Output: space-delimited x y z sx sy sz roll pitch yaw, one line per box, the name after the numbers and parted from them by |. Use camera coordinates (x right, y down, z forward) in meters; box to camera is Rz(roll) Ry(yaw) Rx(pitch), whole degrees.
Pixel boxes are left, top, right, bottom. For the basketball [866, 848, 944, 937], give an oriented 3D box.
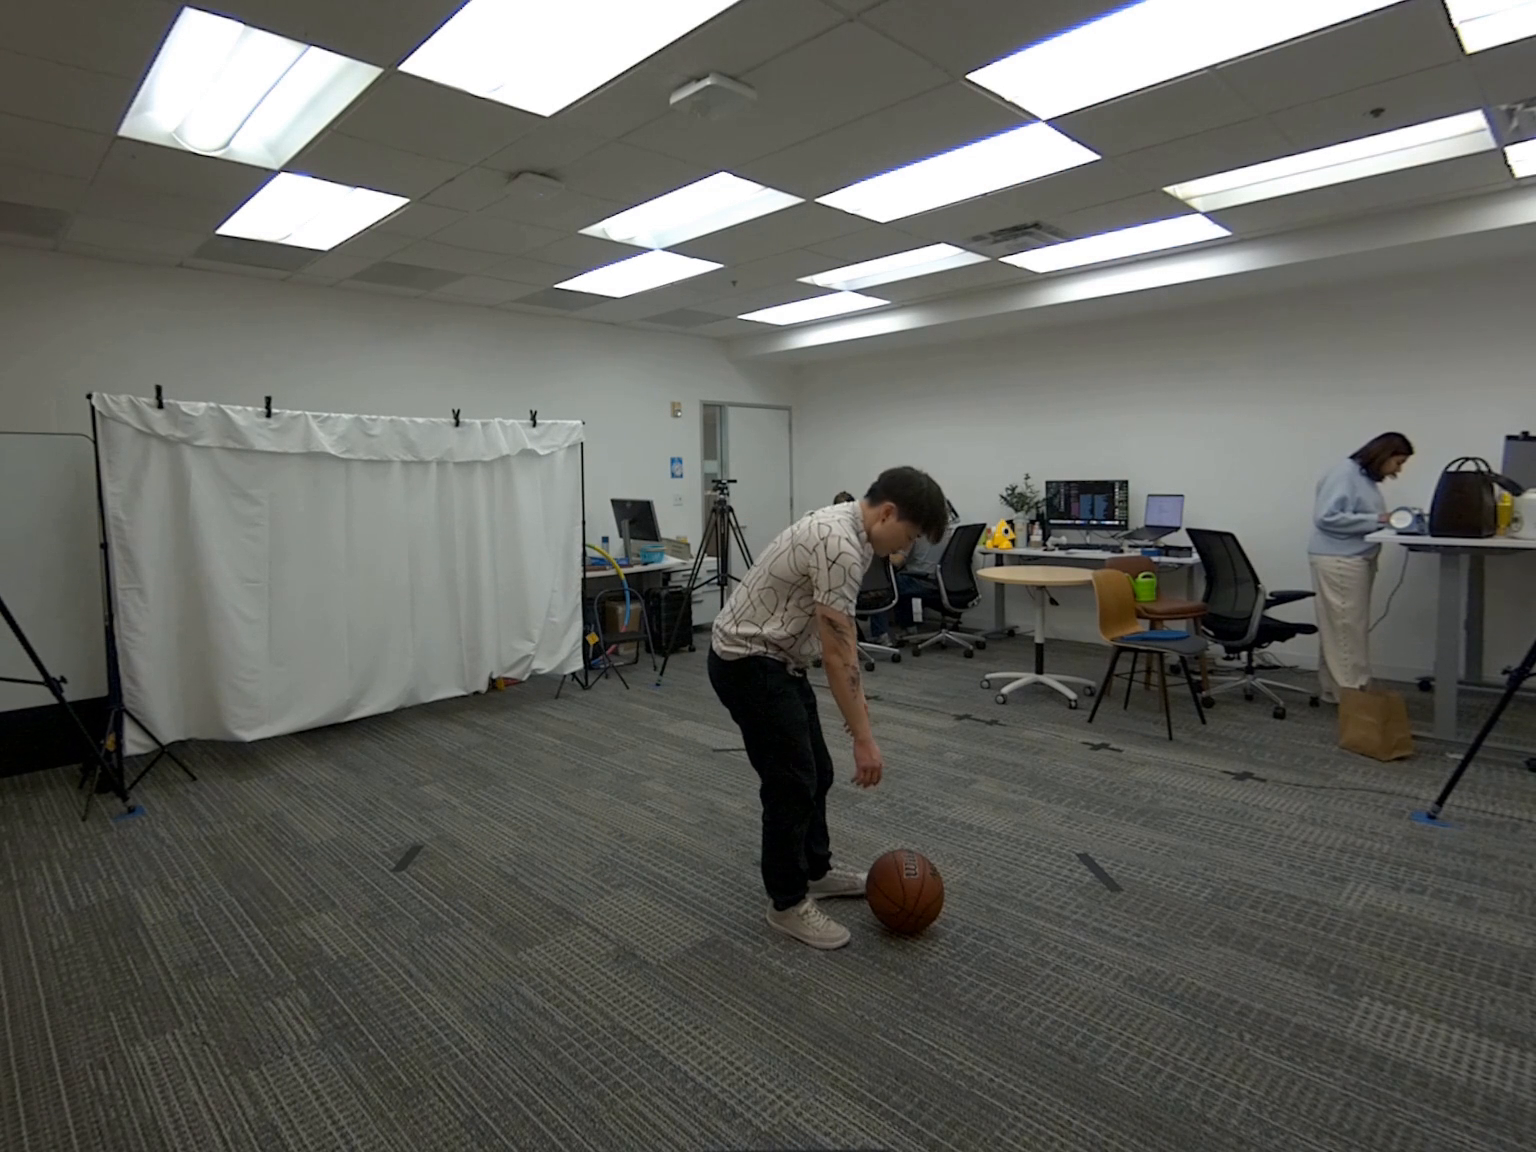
0.424 0.967 2.645 0.236 0.235 0.237 -1 5 -2 | basketball
